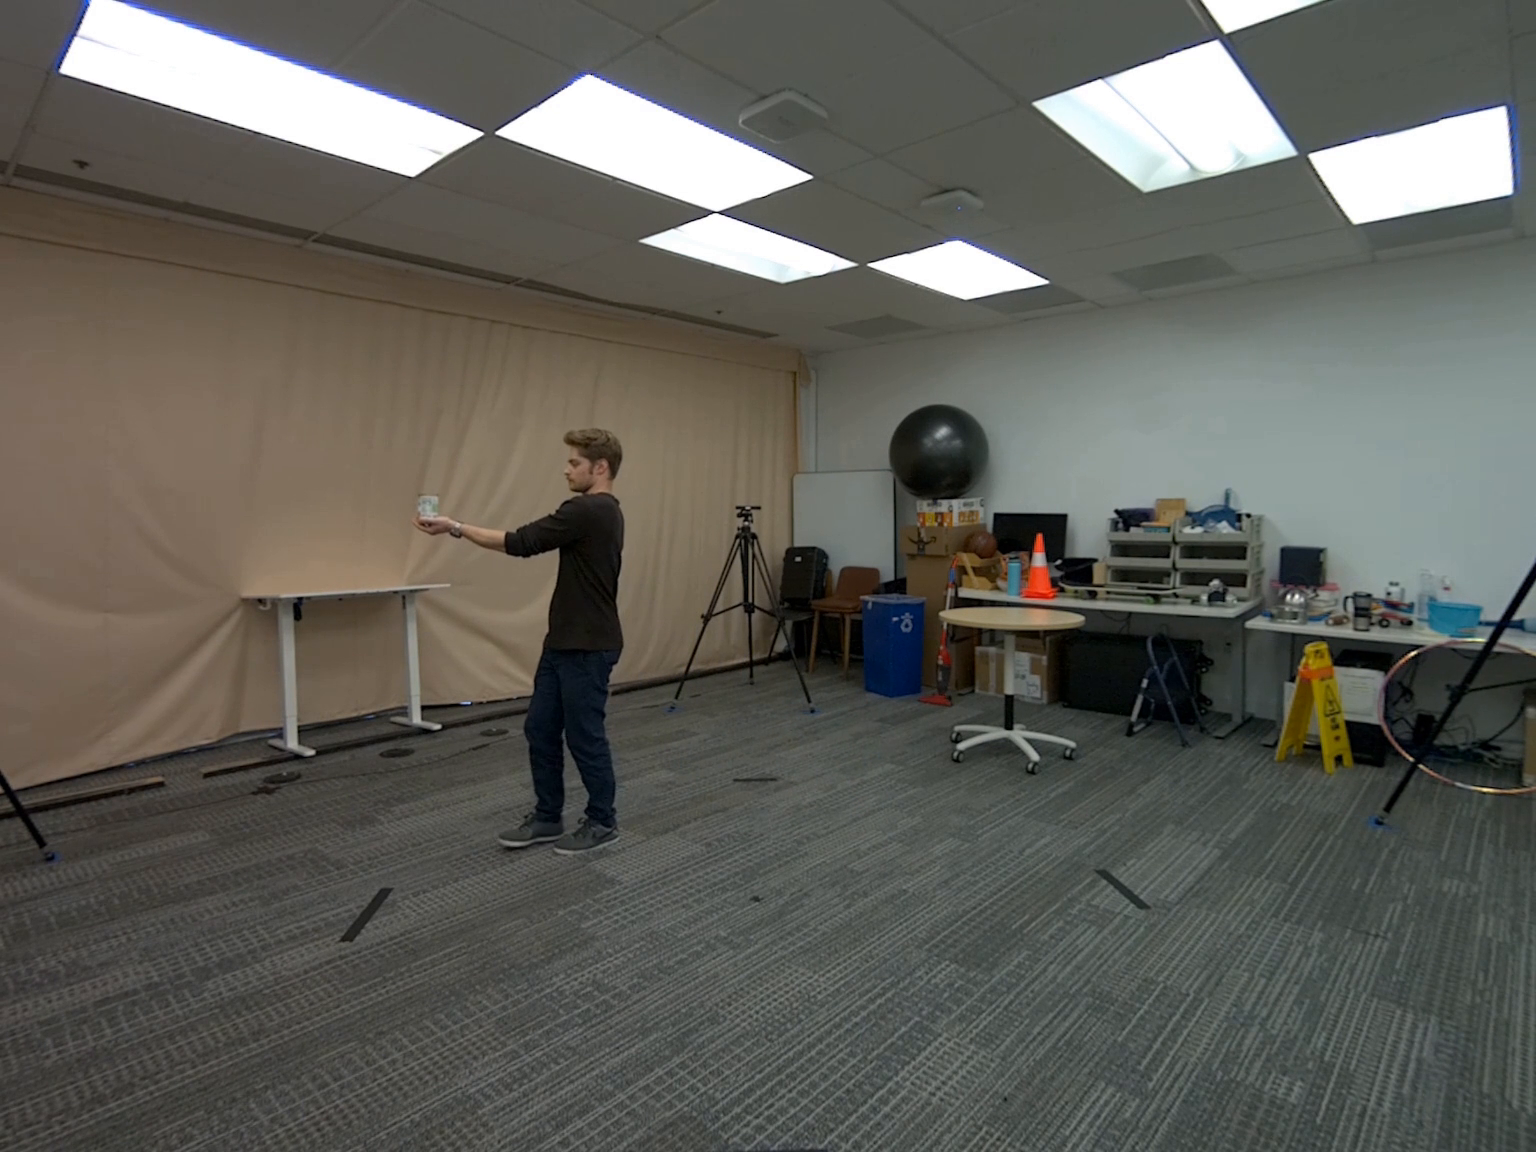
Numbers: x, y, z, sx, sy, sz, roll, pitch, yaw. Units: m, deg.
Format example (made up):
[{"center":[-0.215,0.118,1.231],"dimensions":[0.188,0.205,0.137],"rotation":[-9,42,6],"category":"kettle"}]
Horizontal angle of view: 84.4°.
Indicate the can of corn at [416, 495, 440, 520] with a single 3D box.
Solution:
[{"center":[-1.301,-0.252,3.209],"dimensions":[0.074,0.111,0.074],"rotation":[2,2,-2],"category":"can of corn"}]
